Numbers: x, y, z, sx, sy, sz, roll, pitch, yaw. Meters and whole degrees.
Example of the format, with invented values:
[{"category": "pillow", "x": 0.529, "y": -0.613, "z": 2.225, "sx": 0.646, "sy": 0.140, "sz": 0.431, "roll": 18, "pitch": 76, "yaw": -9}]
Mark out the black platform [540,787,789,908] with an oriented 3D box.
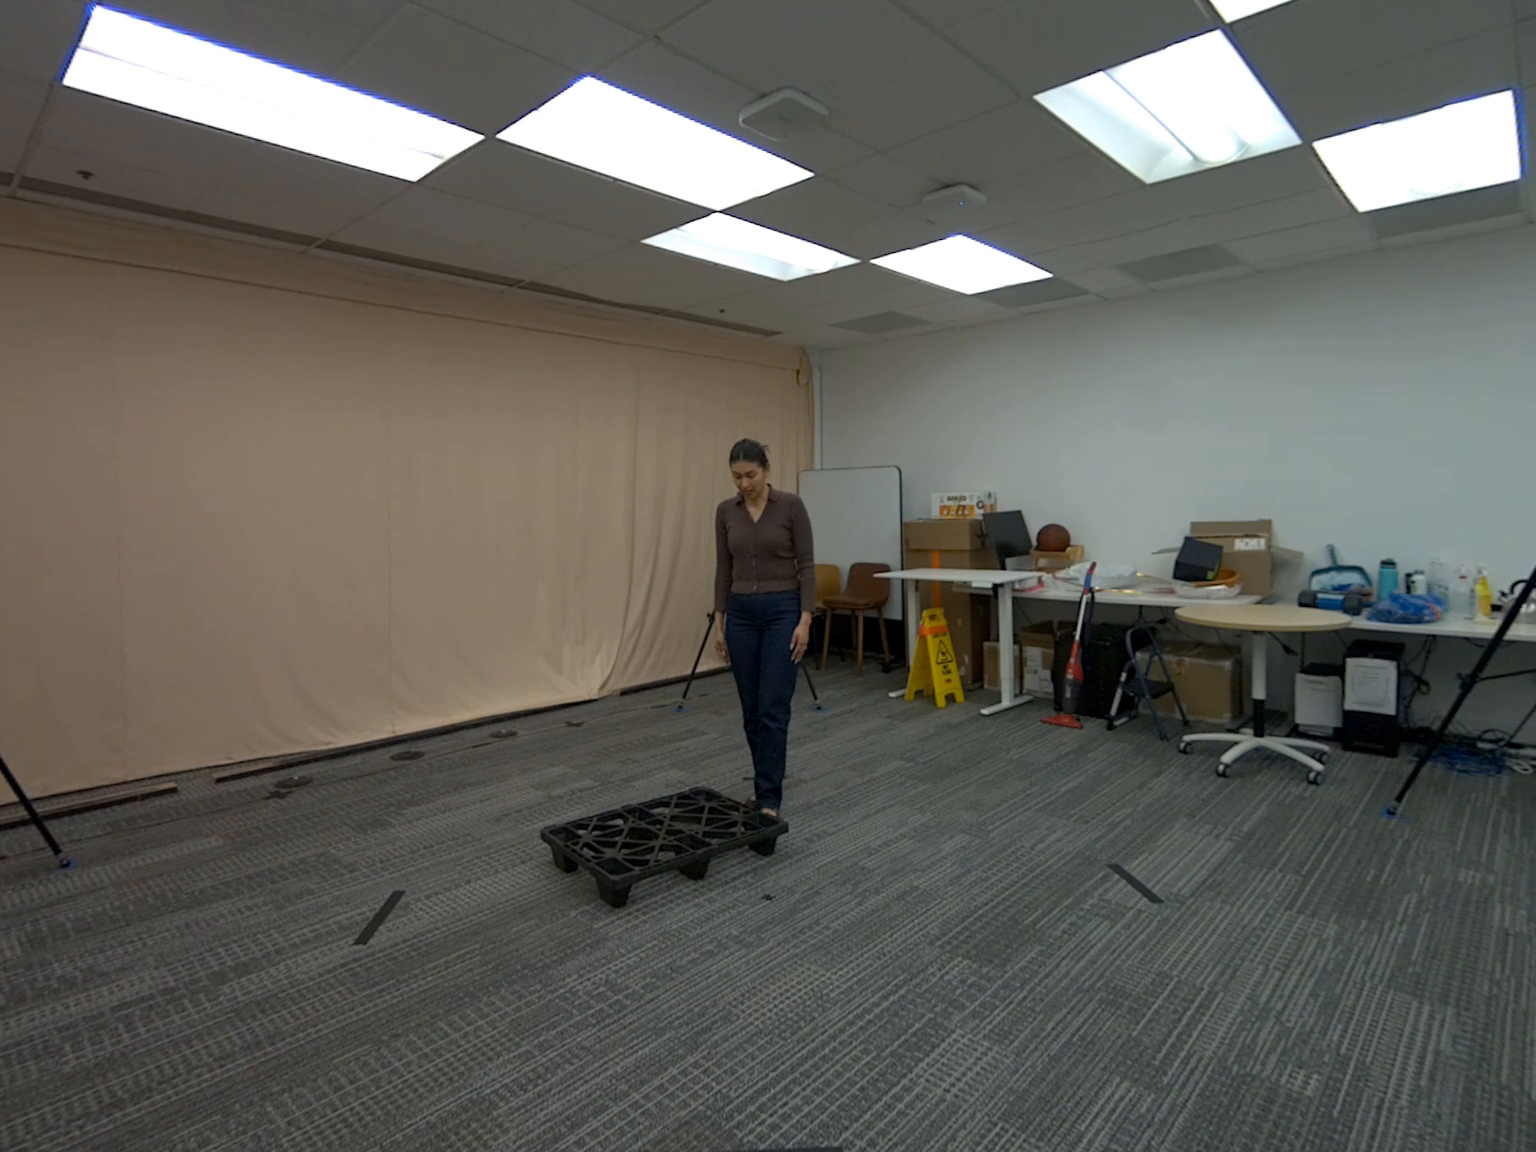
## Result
[{"category": "black platform", "x": -0.401, "y": 1.054, "z": 3.321, "sx": 0.782, "sy": 0.143, "sz": 0.625, "roll": -5, "pitch": 7, "yaw": -38}]
